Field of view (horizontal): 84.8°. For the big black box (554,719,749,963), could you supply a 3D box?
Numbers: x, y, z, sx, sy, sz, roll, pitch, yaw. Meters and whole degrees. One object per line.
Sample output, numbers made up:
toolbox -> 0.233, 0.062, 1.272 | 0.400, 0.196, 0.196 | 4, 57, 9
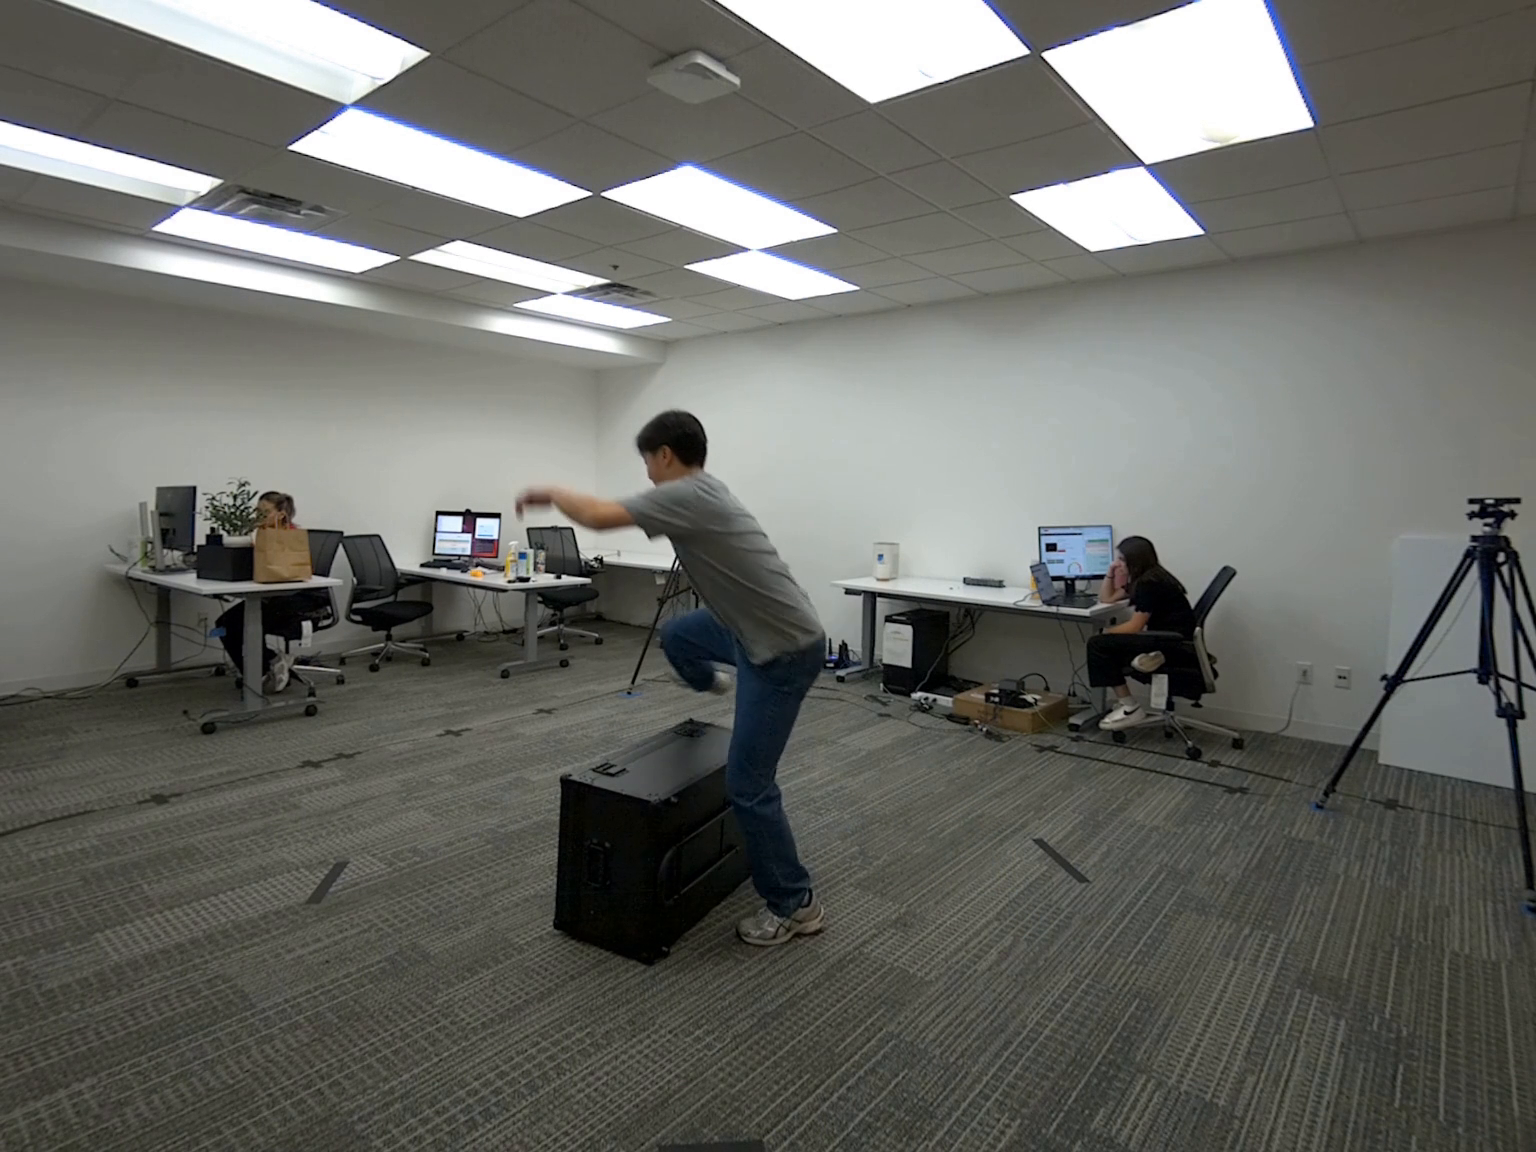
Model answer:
big black box -> -0.309, 0.830, 2.886 | 0.407, 0.519, 0.842 | 5, 6, 25
